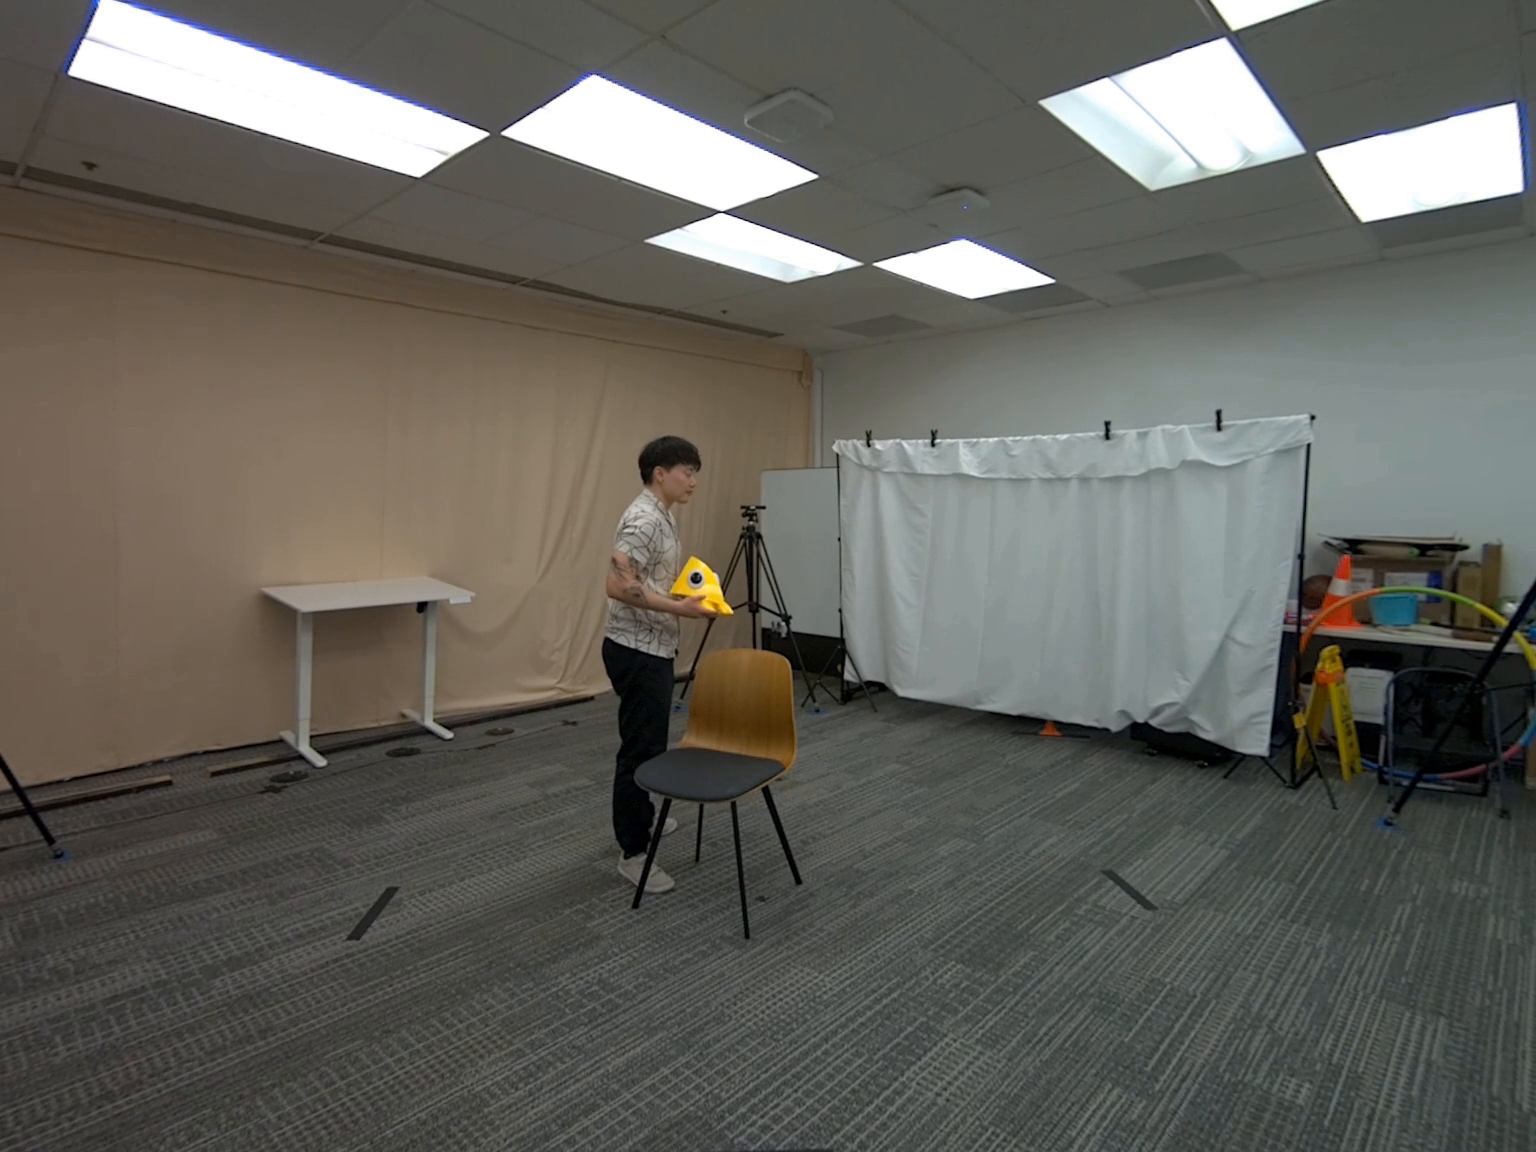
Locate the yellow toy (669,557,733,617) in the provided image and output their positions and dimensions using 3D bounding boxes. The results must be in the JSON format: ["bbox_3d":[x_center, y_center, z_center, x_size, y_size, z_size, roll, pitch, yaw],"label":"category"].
[{"bbox_3d":[-0.244,0.037,3.229,0.198,0.232,0.198,-7,-11,34],"label":"yellow toy"}]
